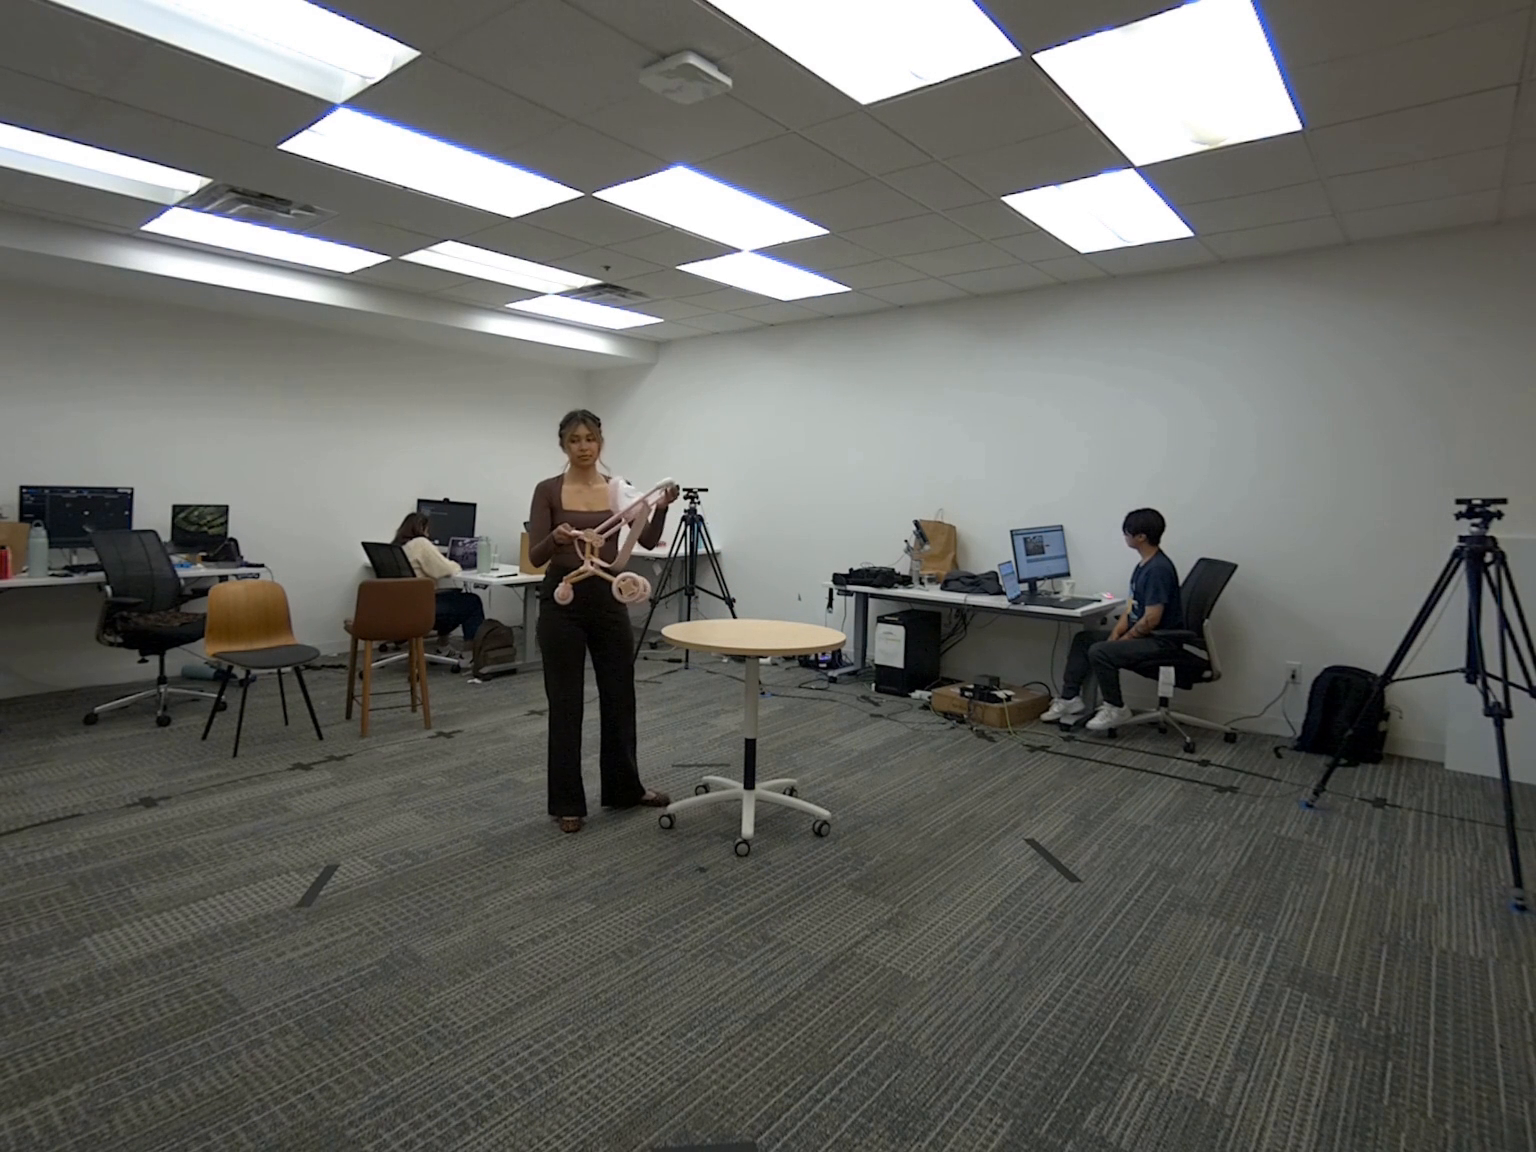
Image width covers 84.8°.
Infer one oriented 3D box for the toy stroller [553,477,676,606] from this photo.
[{"bbox_3d":[-0.579,-0.132,3.124,0.344,0.536,0.278,14,-4,6],"label":"toy stroller"}]
